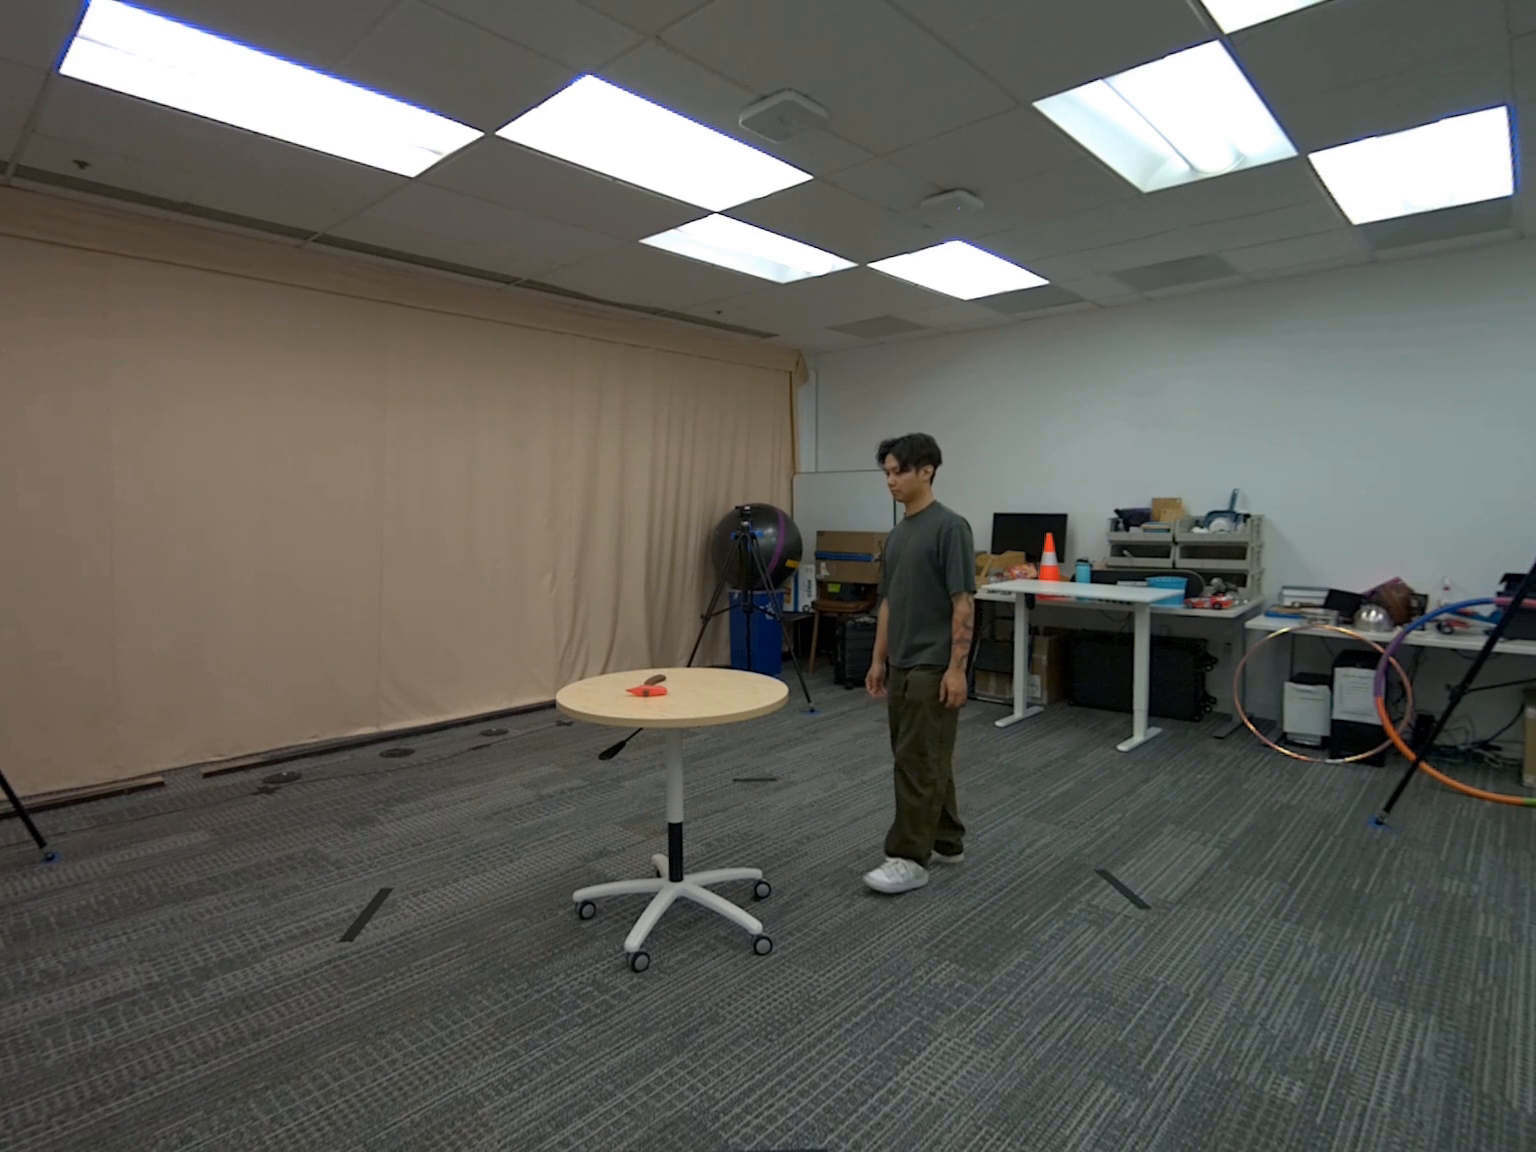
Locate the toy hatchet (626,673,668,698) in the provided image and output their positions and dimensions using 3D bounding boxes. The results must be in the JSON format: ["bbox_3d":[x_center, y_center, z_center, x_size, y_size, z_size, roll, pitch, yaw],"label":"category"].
[{"bbox_3d":[-0.372,0.367,2.815,0.133,0.029,0.266,2,4,15],"label":"toy hatchet"}]
